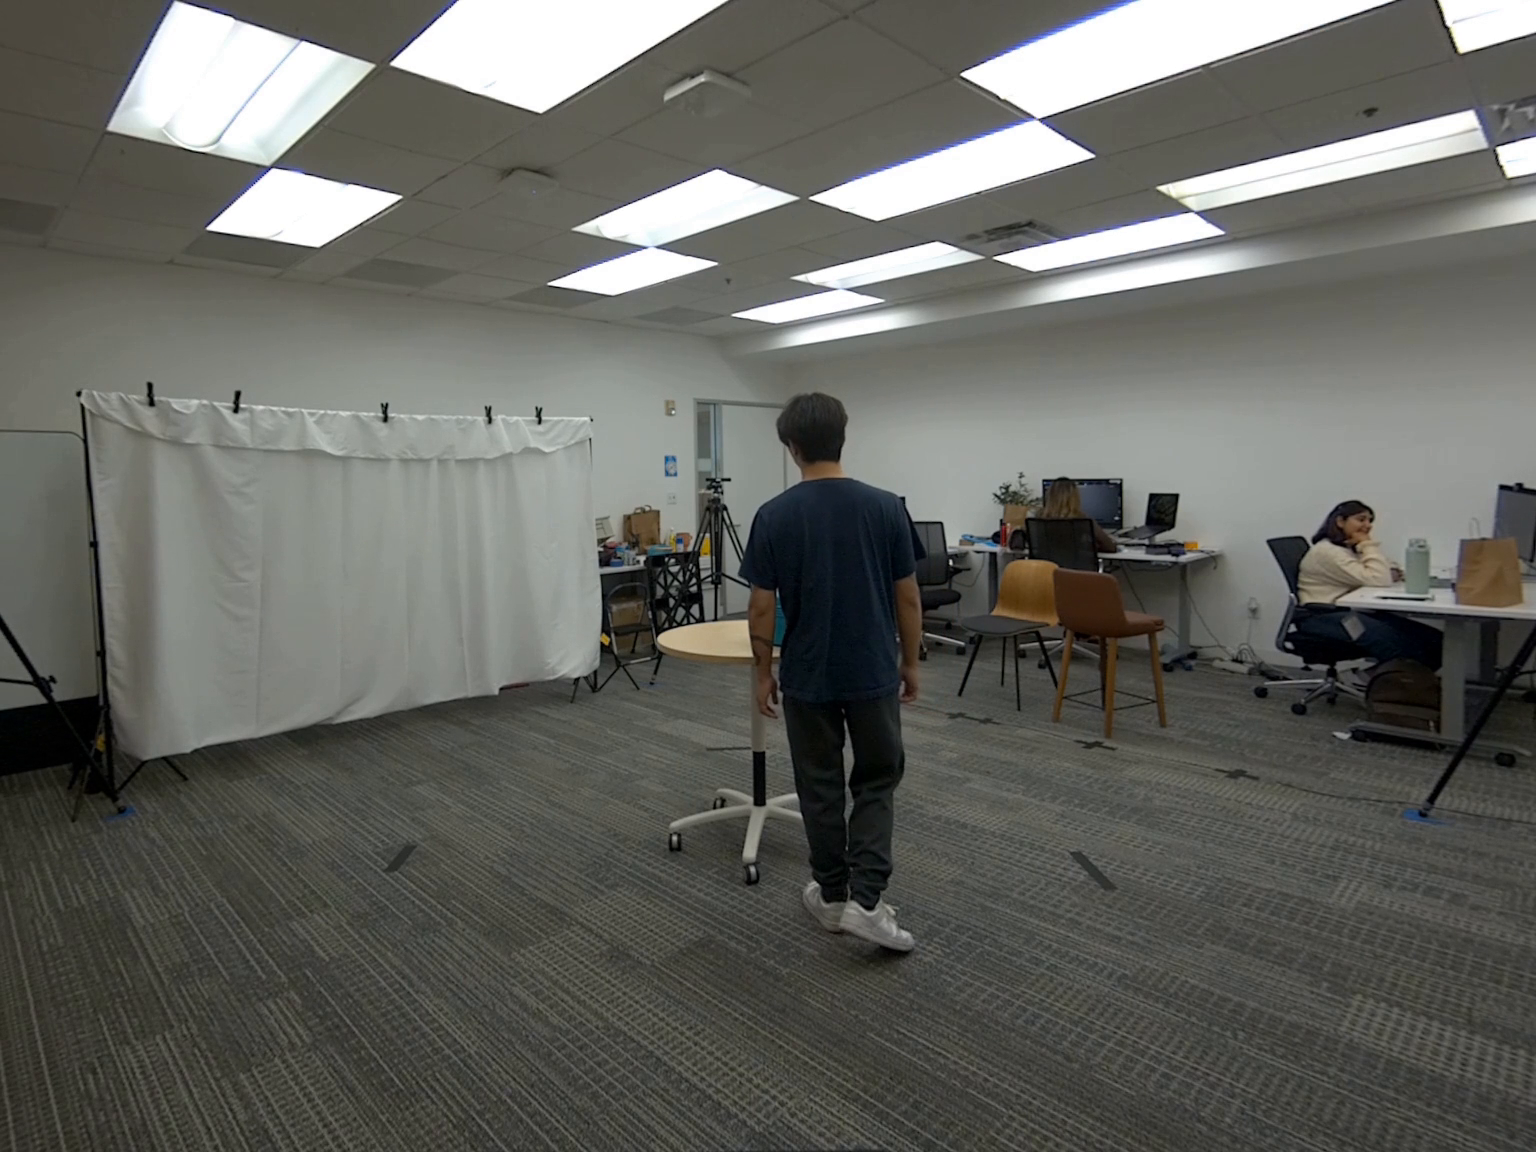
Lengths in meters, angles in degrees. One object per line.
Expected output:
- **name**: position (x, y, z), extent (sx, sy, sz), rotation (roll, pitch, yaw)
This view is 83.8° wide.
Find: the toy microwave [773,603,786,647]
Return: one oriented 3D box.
- **toy microwave**: position (0.110, 0.158, 3.063), extent (0.295, 0.183, 0.148), rotation (4, 7, 42)
